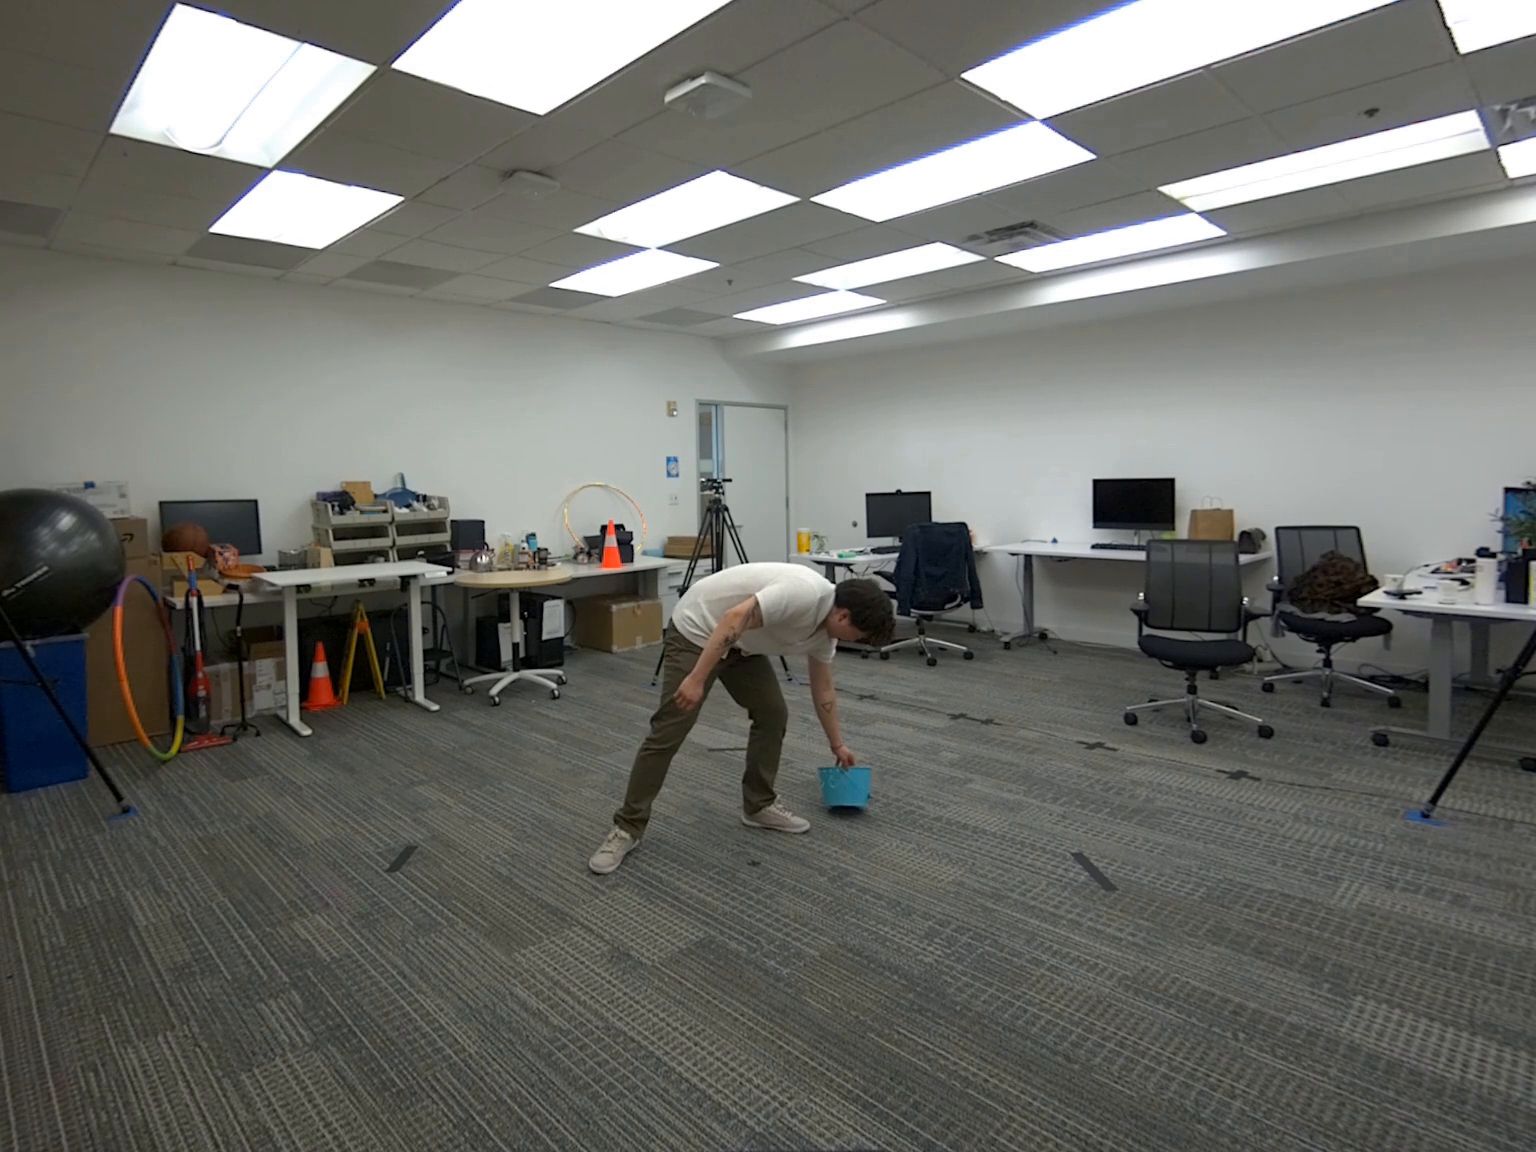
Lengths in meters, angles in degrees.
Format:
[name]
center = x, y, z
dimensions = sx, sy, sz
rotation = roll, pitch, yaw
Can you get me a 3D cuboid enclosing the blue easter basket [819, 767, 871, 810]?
[blue easter basket]
center = 0.323, 0.886, 3.589
dimensions = 0.243, 0.158, 0.240
rotation = 0, -14, -2
